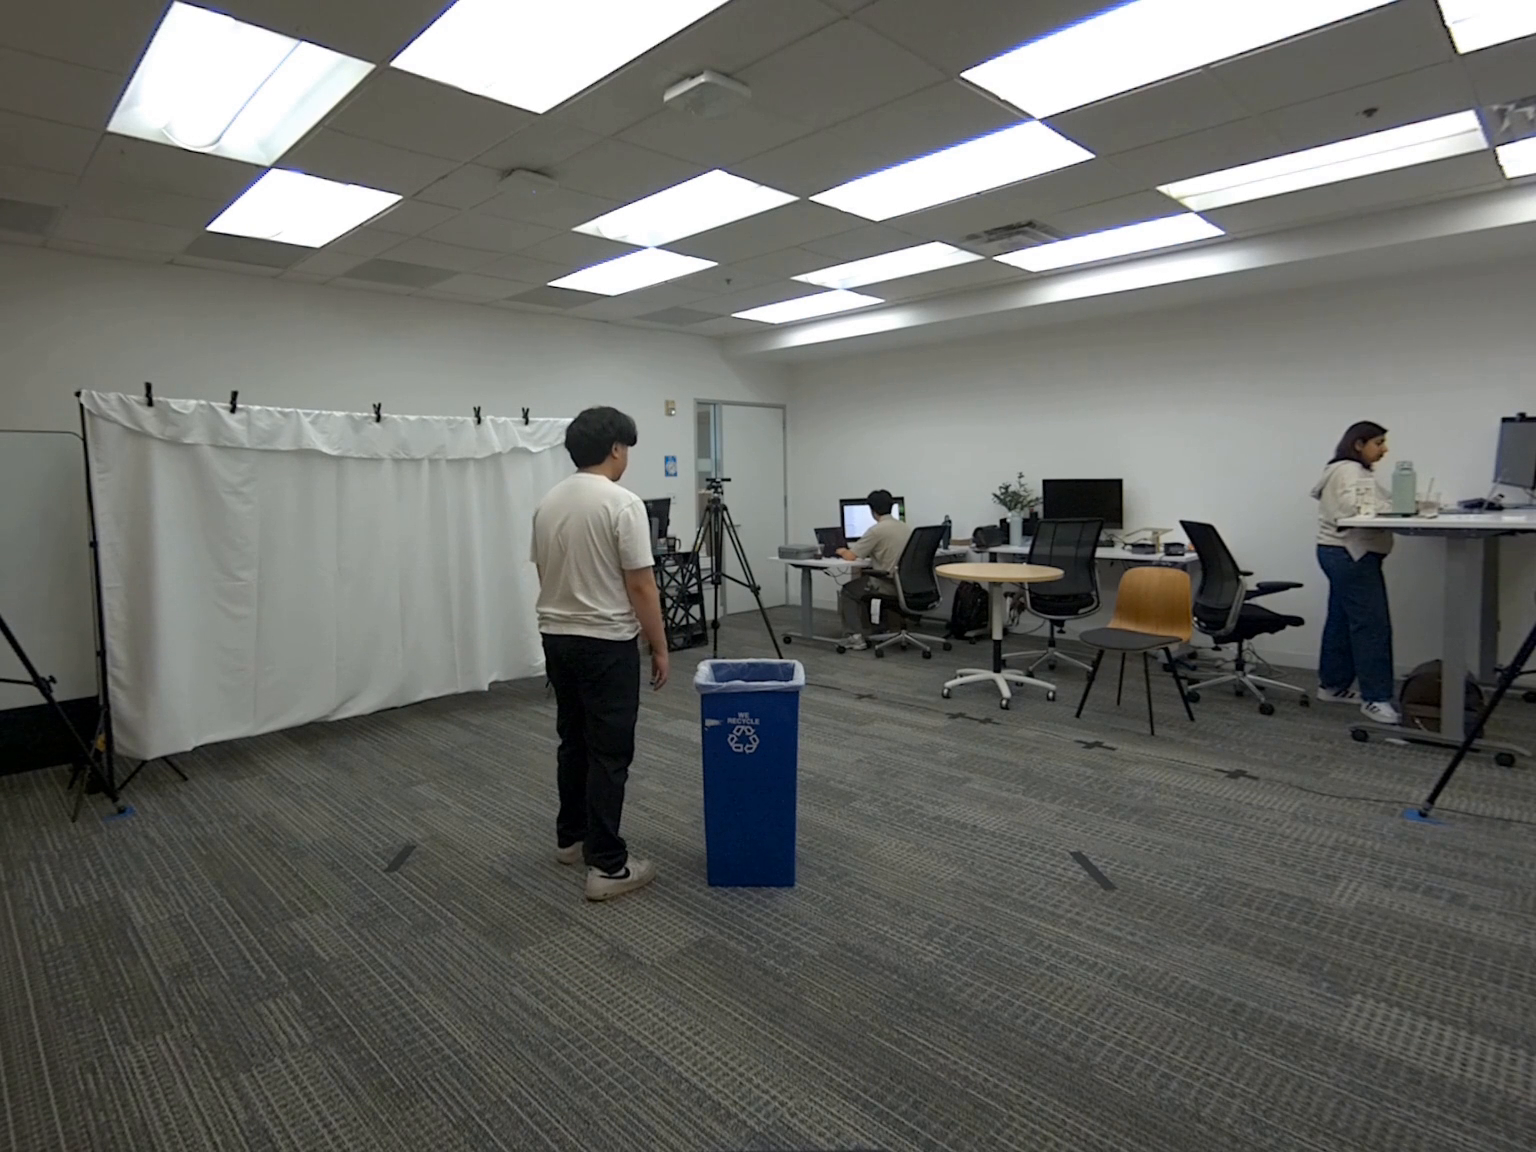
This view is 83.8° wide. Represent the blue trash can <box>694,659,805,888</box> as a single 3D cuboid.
[{"bbox_3d":[-0.059,0.688,3.050,0.375,0.711,0.379,-1,4,2],"label":"blue trash can"}]
